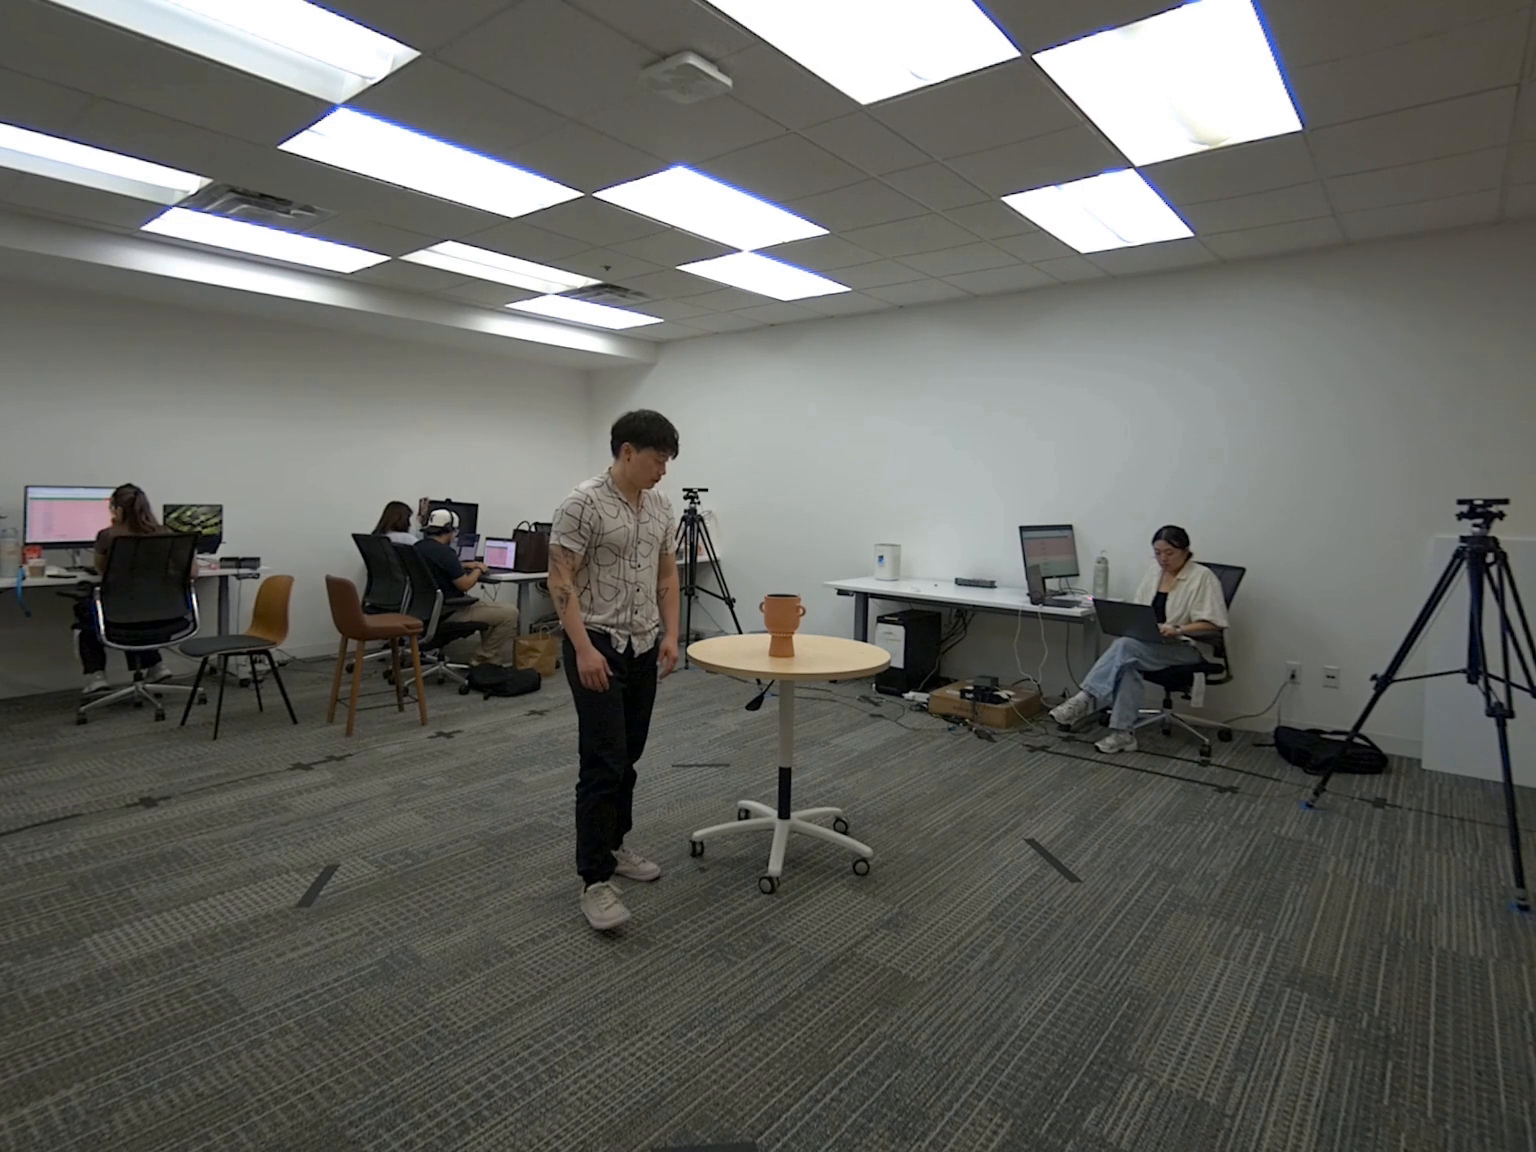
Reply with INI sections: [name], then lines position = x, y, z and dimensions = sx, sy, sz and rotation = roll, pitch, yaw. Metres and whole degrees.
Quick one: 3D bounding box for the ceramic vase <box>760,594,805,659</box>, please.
[ceramic vase]
position = 0.046, 0.185, 3.134
dimensions = 0.132, 0.219, 0.162
rotation = -1, 5, -18
